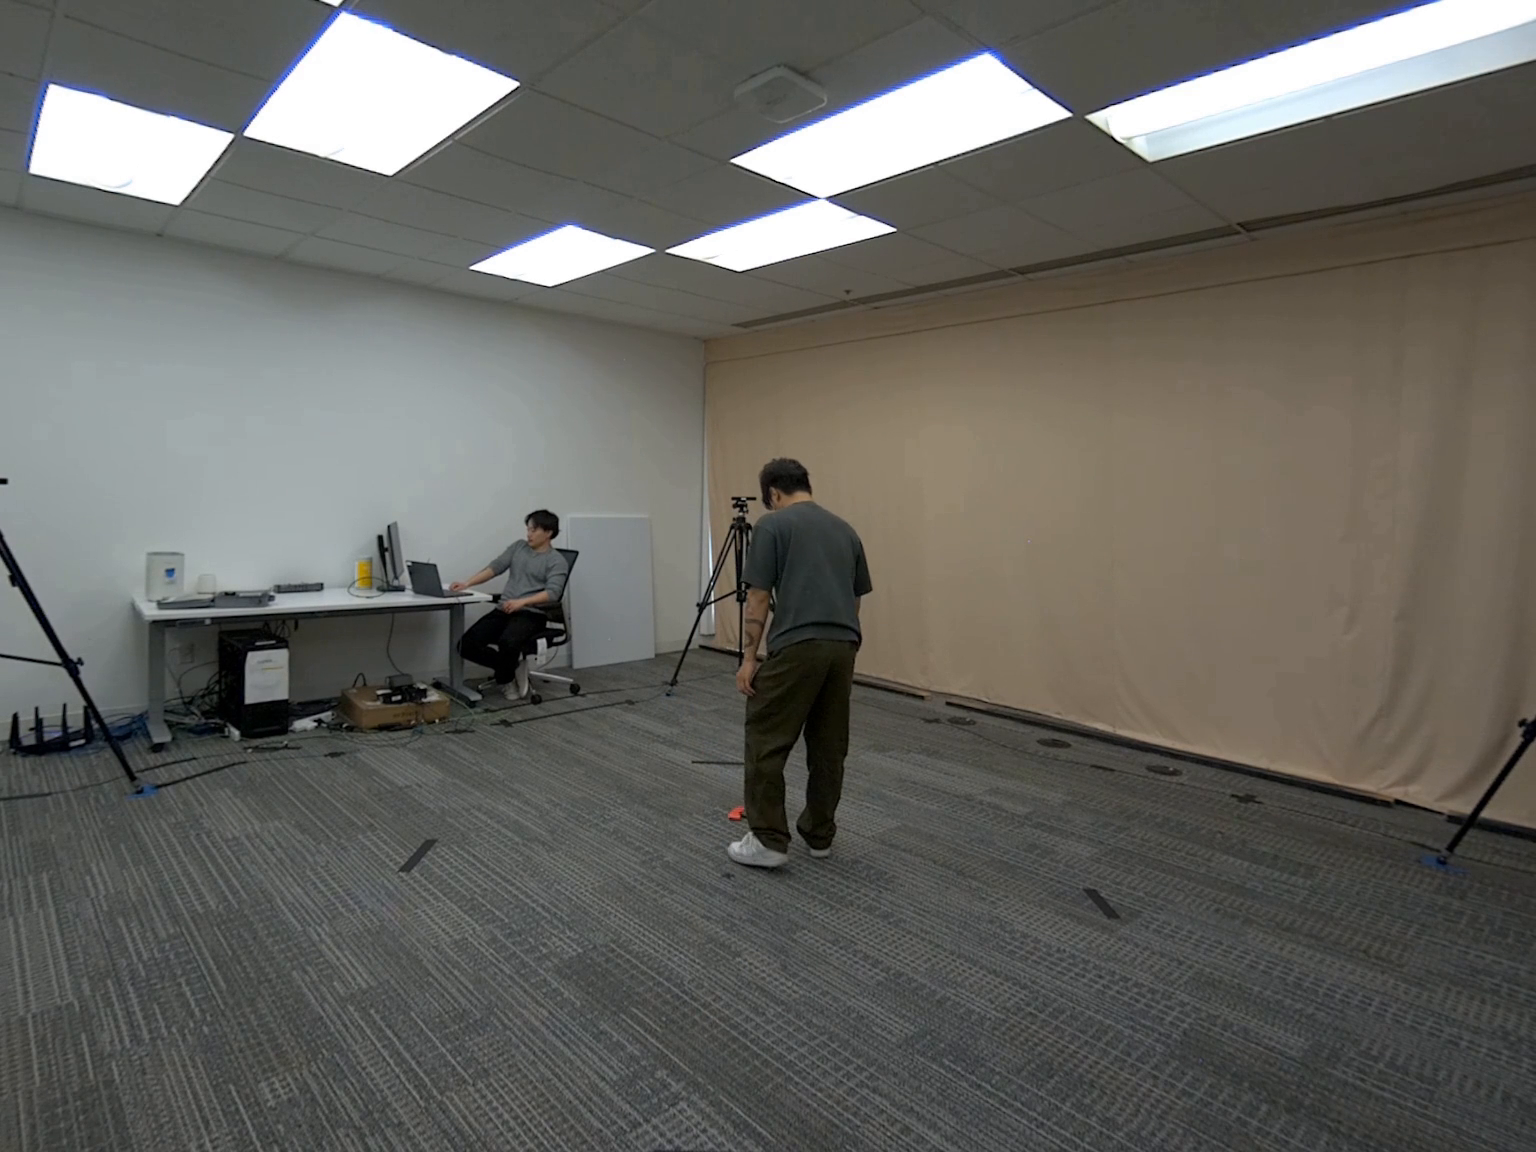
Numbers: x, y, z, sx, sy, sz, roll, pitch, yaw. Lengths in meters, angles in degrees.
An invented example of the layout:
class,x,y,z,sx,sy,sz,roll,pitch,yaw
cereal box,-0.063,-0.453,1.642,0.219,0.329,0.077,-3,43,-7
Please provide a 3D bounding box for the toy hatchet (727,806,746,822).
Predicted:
class,x,y,z,sx,sy,sz,roll,pitch,yaw
toy hatchet,-0.082,1.053,3.620,0.128,0.029,0.277,-2,7,-32
